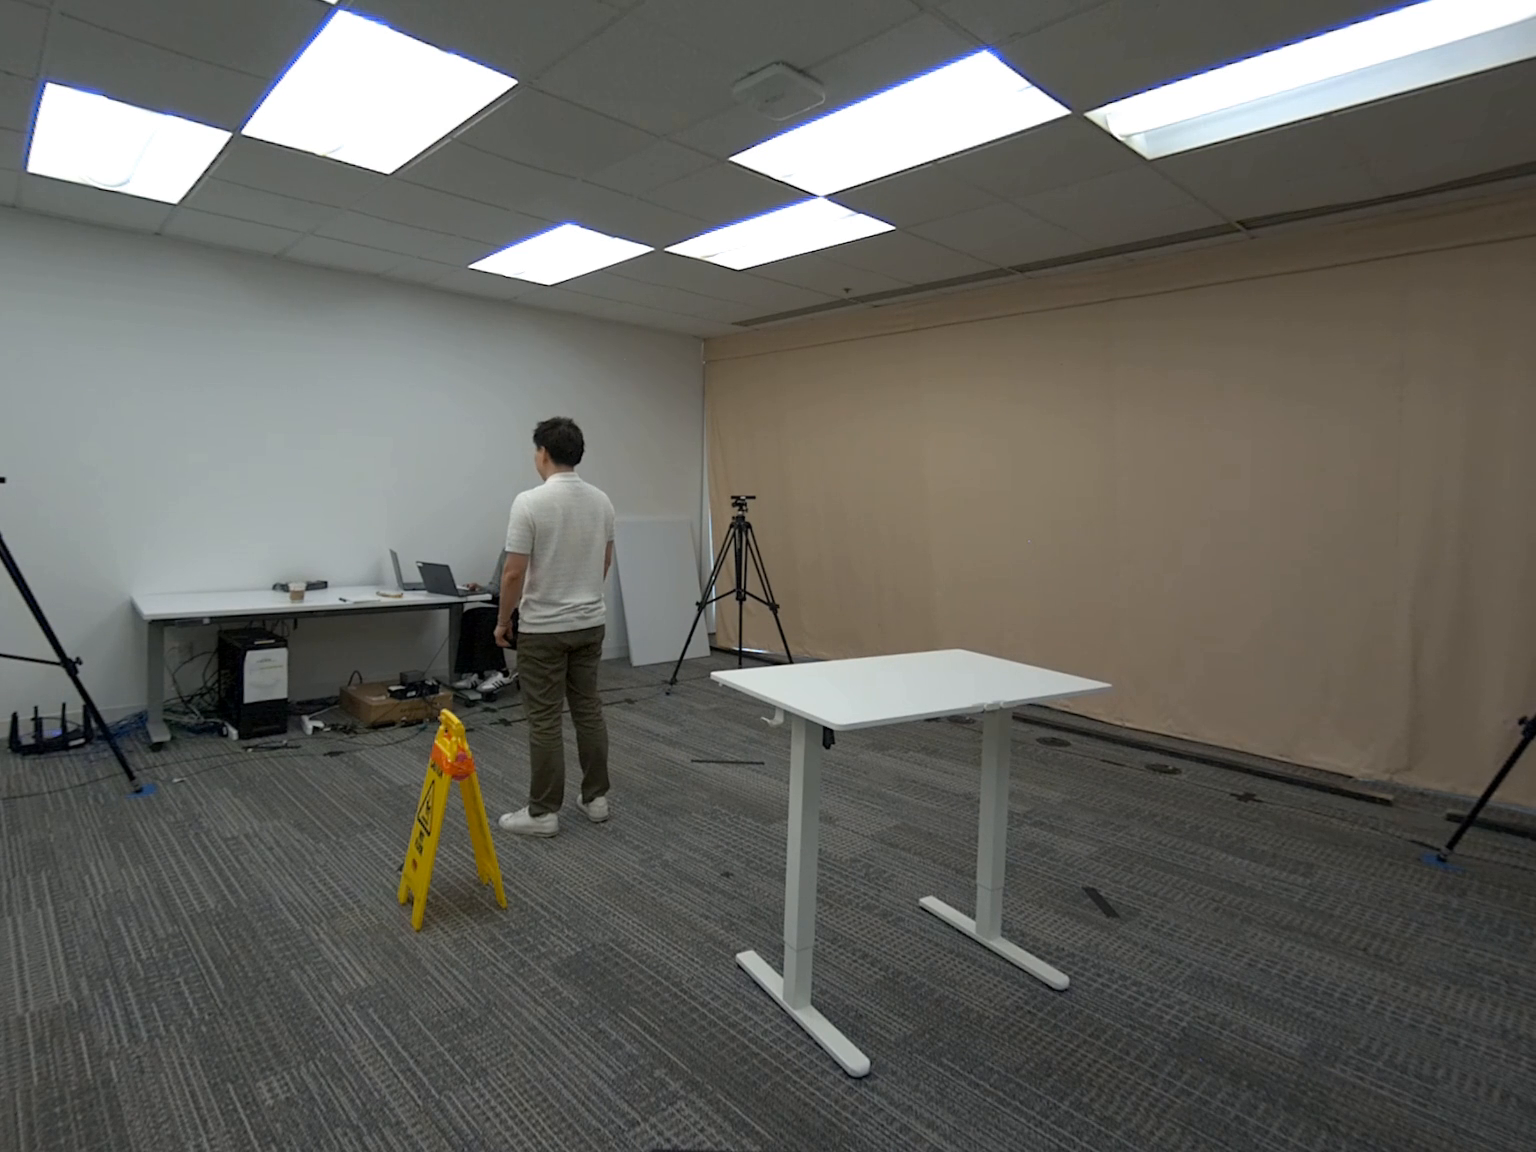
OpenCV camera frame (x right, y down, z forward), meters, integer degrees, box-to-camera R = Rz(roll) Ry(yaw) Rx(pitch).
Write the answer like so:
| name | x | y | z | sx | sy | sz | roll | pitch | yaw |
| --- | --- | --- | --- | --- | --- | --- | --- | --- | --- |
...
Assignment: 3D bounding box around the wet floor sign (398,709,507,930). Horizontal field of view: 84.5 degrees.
| name | x | y | z | sx | sy | sz | roll | pitch | yaw |
| --- | --- | --- | --- | --- | --- | --- | --- | --- | --- |
| wet floor sign | -1.079 | 0.790 | 2.825 | 0.283 | 0.644 | 0.289 | -2 | 4 | -34 |
